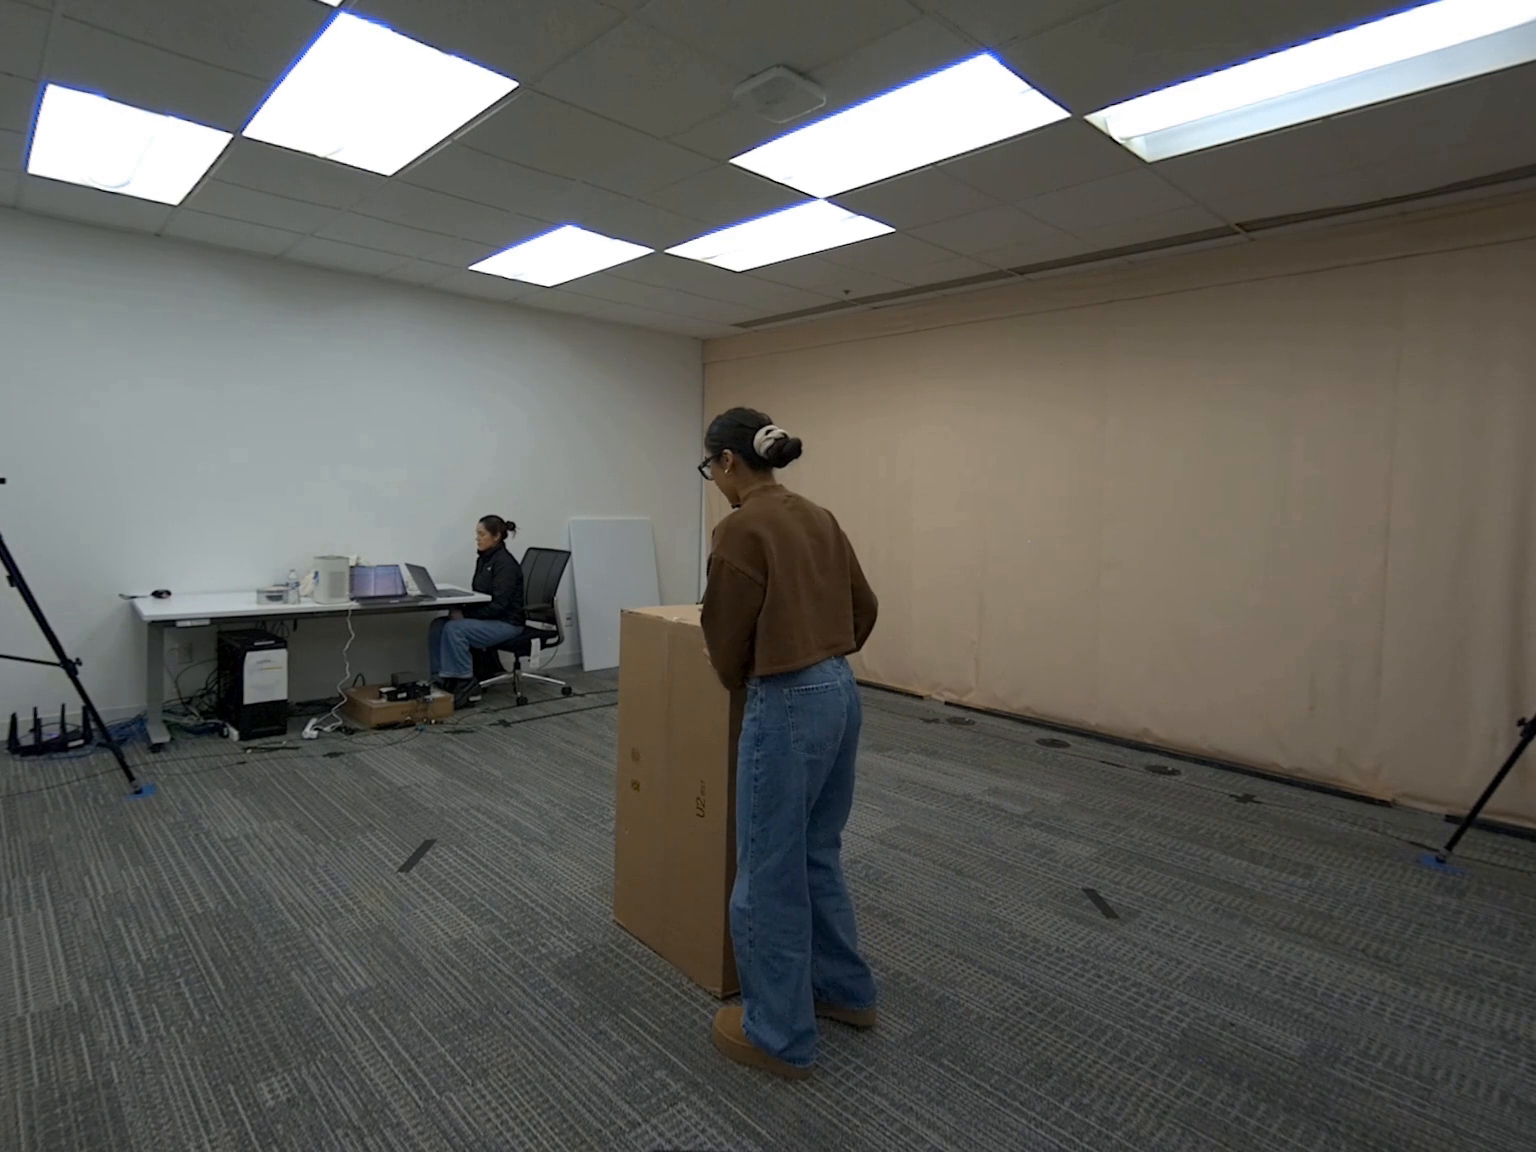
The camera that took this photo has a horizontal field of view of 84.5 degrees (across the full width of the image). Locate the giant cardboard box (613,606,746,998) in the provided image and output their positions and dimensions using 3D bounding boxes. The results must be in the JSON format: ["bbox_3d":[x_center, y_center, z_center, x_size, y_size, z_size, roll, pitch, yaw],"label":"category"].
[{"bbox_3d":[-0.158,0.639,2.662,0.416,1.024,0.592,0,3,-40],"label":"giant cardboard box"}]
